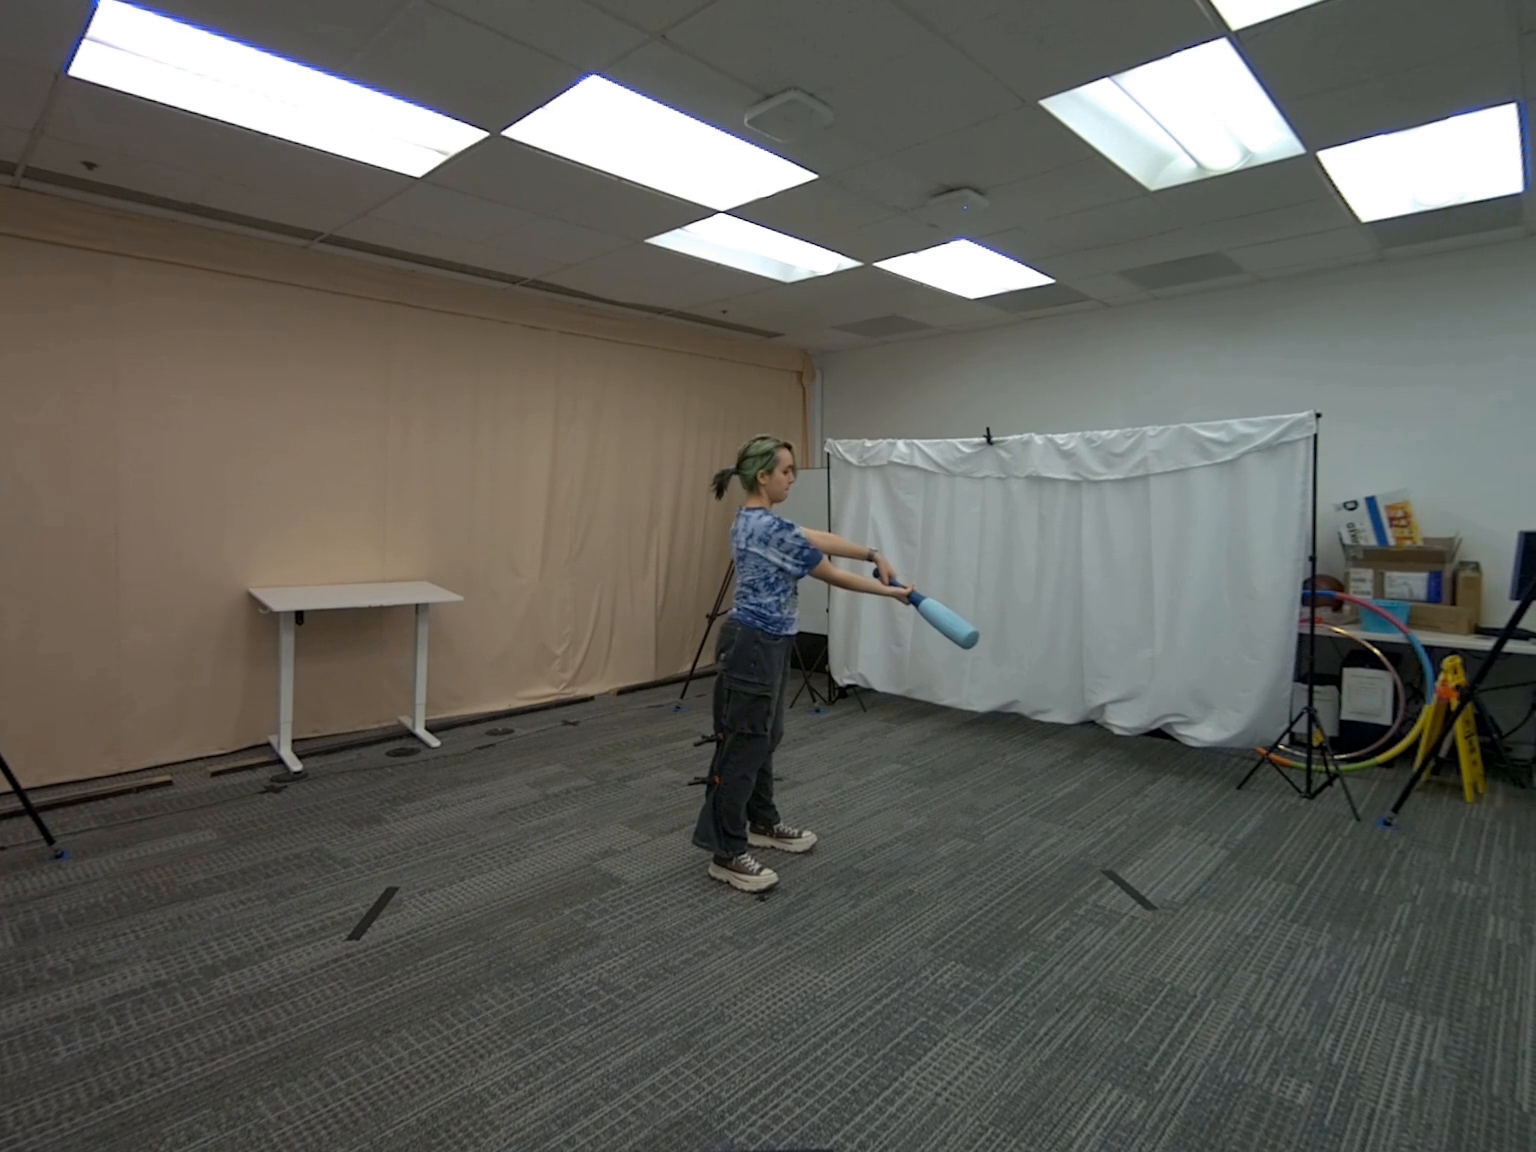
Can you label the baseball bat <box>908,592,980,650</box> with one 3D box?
[{"bbox_3d":[0.580,0.108,3.157,0.087,0.088,0.562,-2,27,-28],"label":"baseball bat"}]
